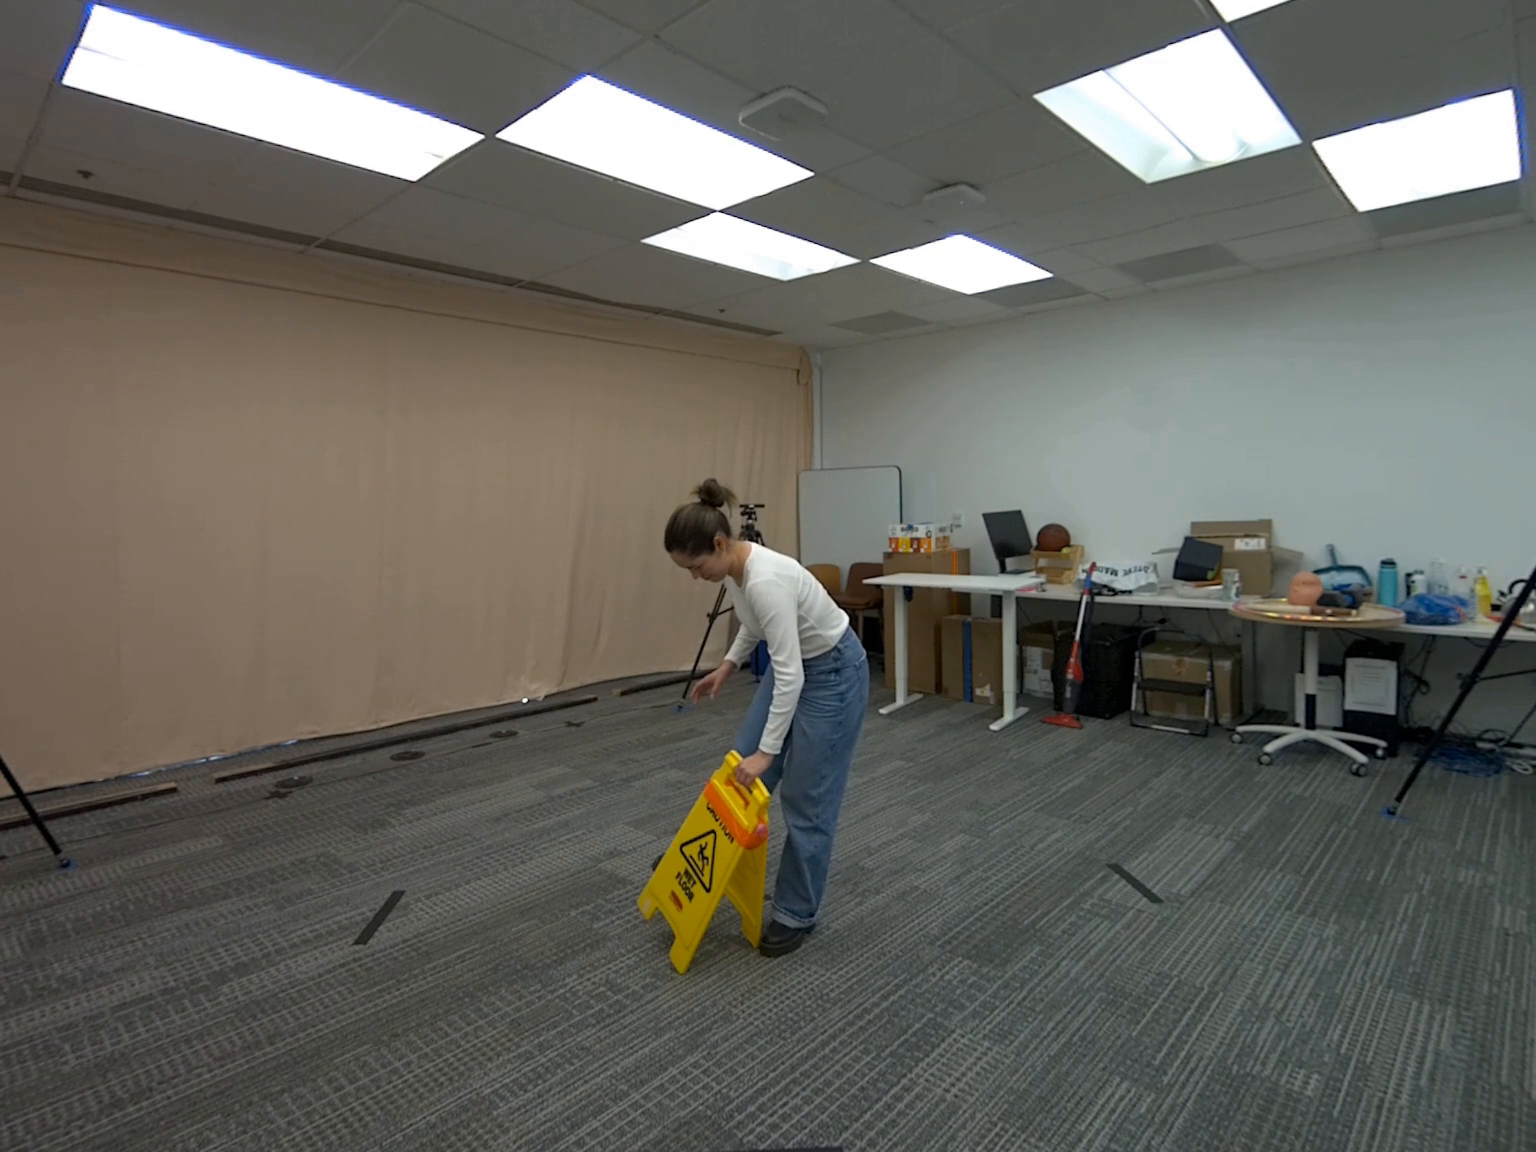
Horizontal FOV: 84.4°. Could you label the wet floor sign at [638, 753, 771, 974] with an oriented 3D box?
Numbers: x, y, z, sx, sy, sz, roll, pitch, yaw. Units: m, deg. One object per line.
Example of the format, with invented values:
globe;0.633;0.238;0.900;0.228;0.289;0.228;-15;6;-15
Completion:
wet floor sign;-0.138;0.828;2.543;0.281;0.642;0.292;1;30;-36
